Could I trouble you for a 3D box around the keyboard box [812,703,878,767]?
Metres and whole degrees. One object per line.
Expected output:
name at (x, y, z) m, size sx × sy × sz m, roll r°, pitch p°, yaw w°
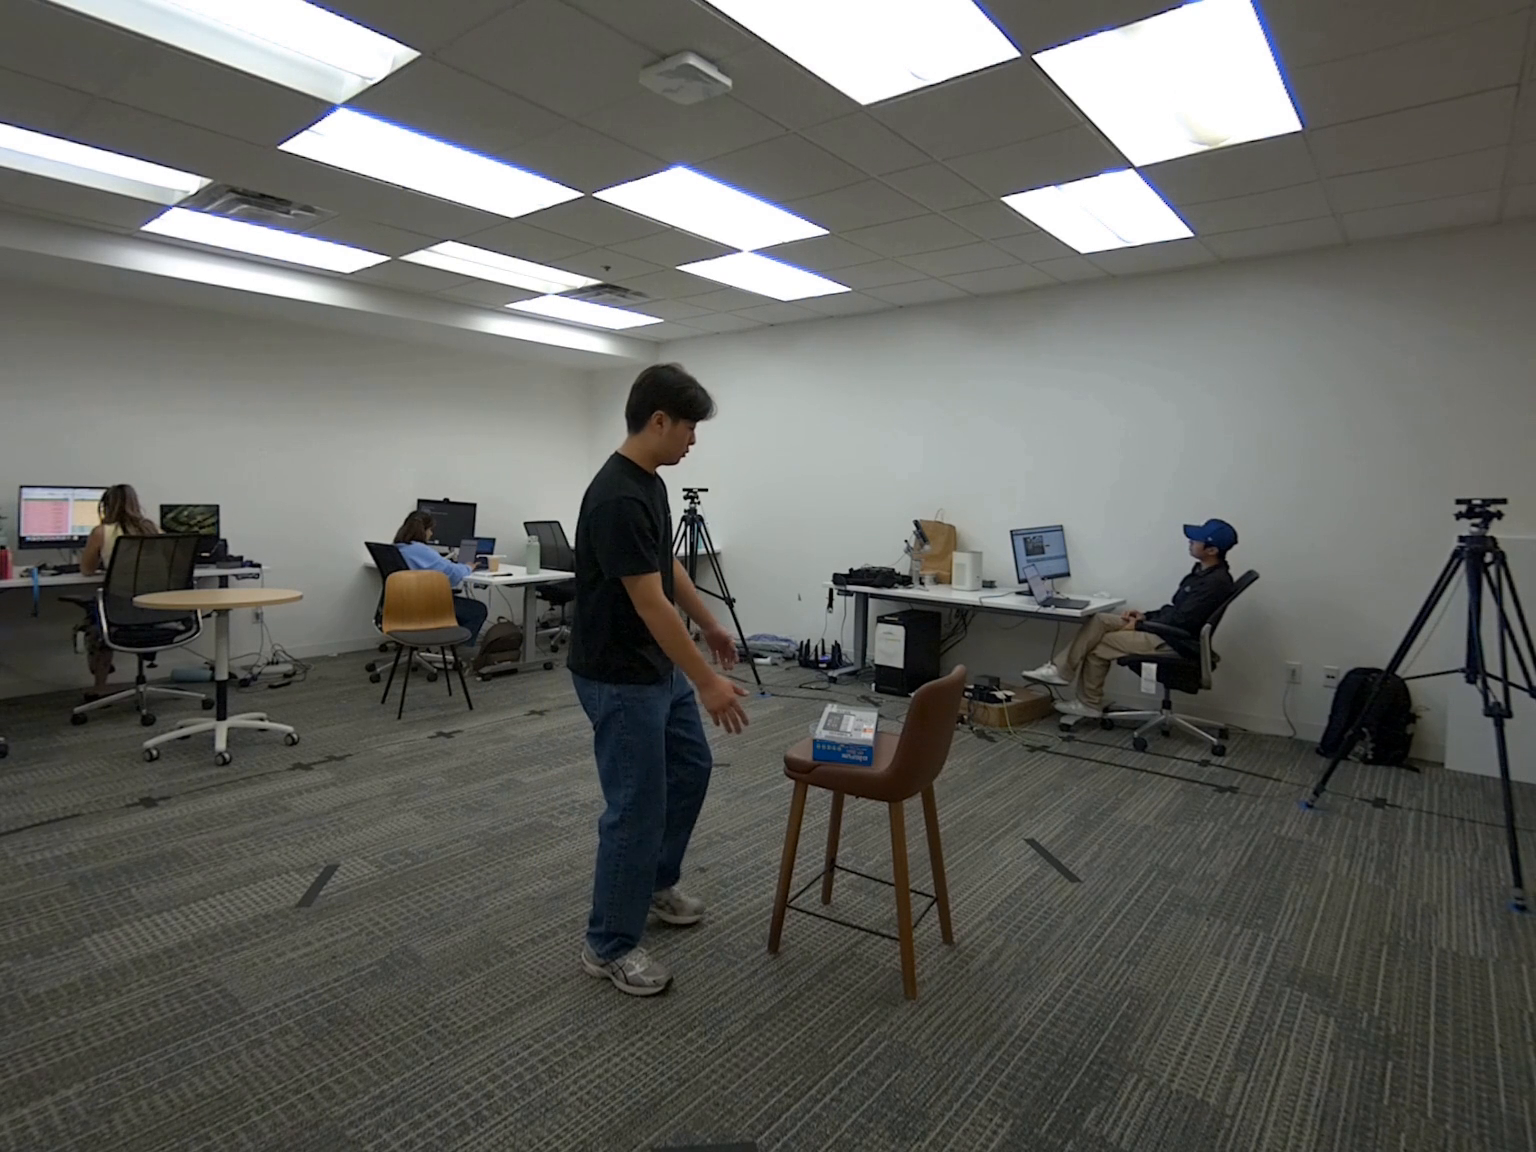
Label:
keyboard box at (0.239, 0.480, 2.643) m, size 0.178 × 0.059 × 0.432 m, roll 4°, pitch 6°, yaw 10°
